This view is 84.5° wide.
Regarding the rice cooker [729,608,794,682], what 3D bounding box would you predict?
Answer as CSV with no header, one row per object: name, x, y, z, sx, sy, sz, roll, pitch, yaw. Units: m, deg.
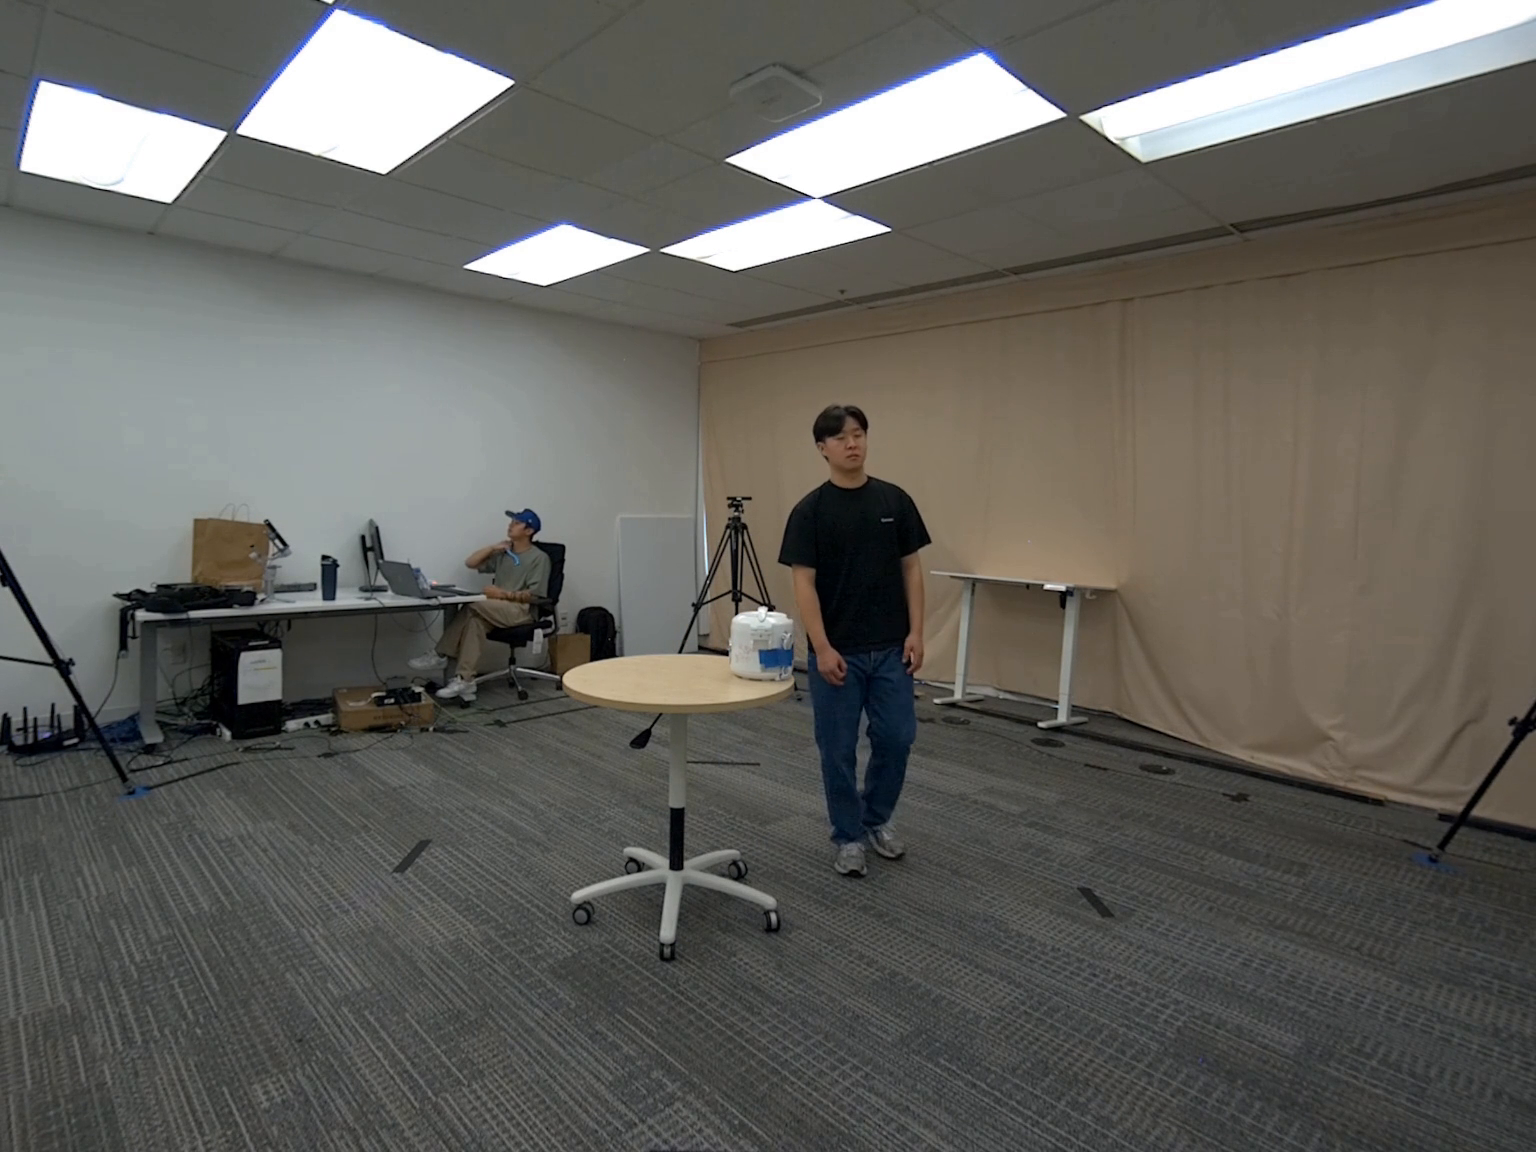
rice cooker,-0.025,0.221,2.820,0.218,0.232,0.220,3,4,4
